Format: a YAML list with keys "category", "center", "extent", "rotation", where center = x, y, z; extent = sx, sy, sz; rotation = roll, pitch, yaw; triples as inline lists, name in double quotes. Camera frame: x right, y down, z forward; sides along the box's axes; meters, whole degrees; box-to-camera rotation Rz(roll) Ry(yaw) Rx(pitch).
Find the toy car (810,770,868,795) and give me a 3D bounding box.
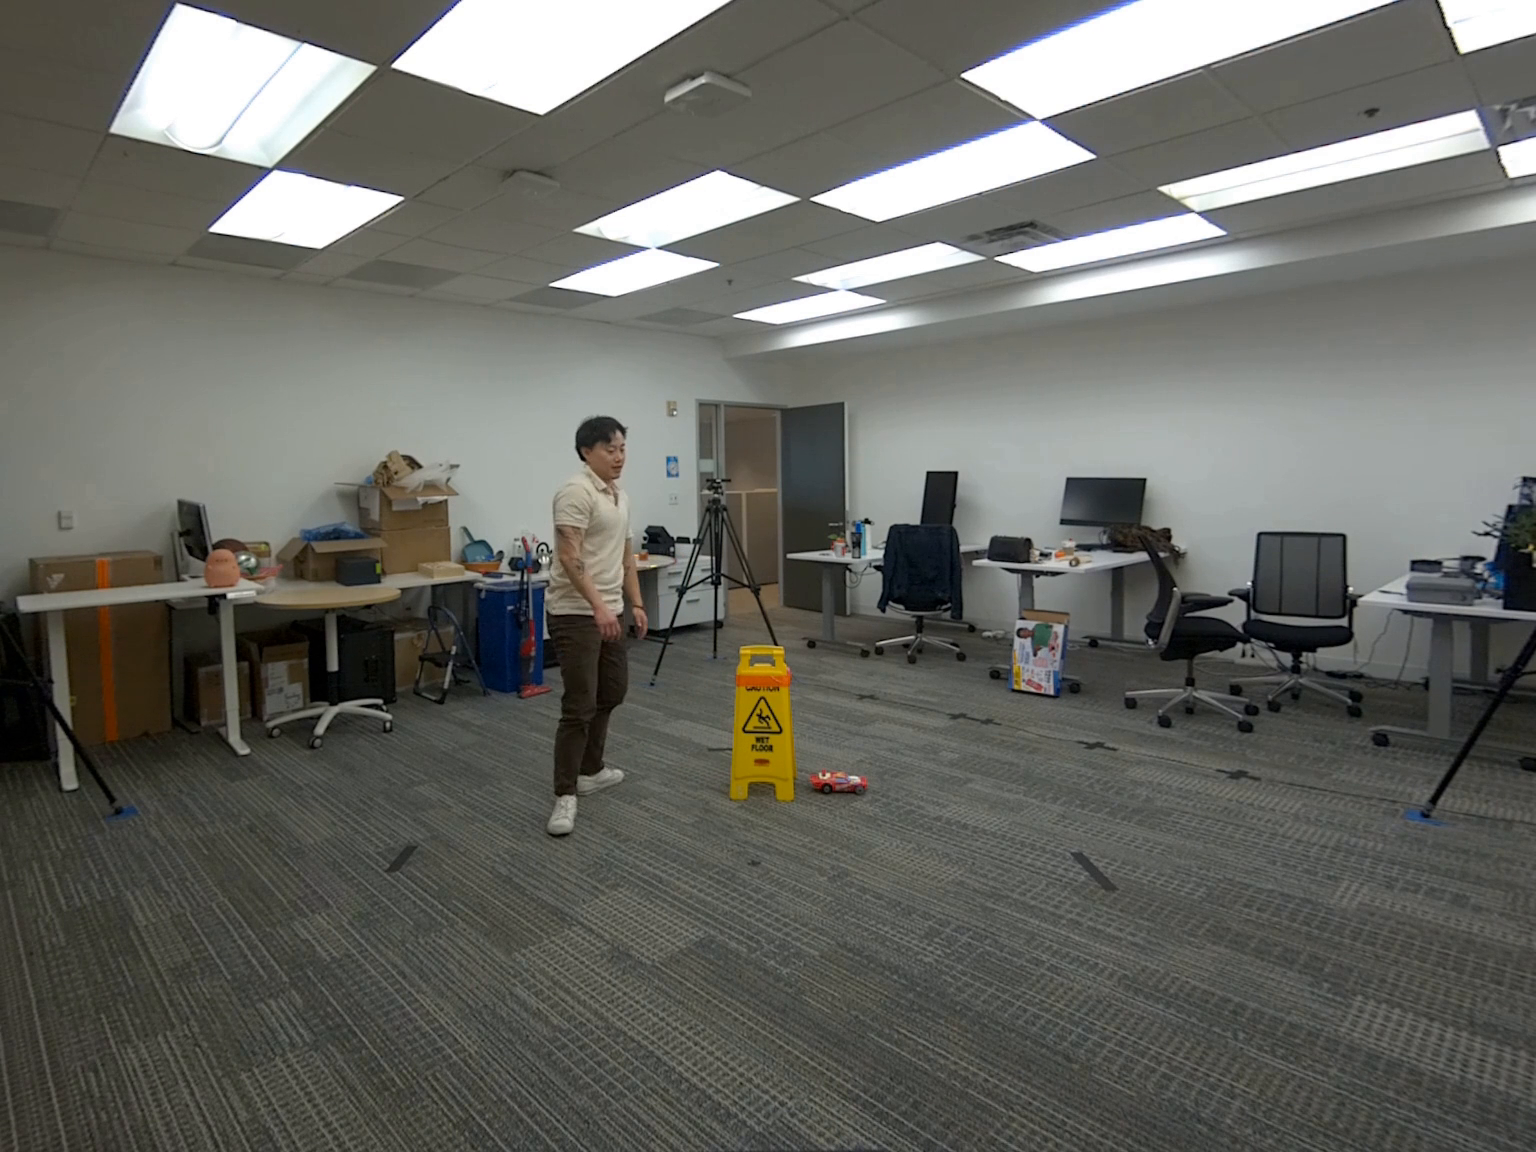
- category: "toy car"
  center: [0.308, 0.920, 3.815]
  extent: [0.256, 0.083, 0.130]
  rotation: [10, 7, 4]
